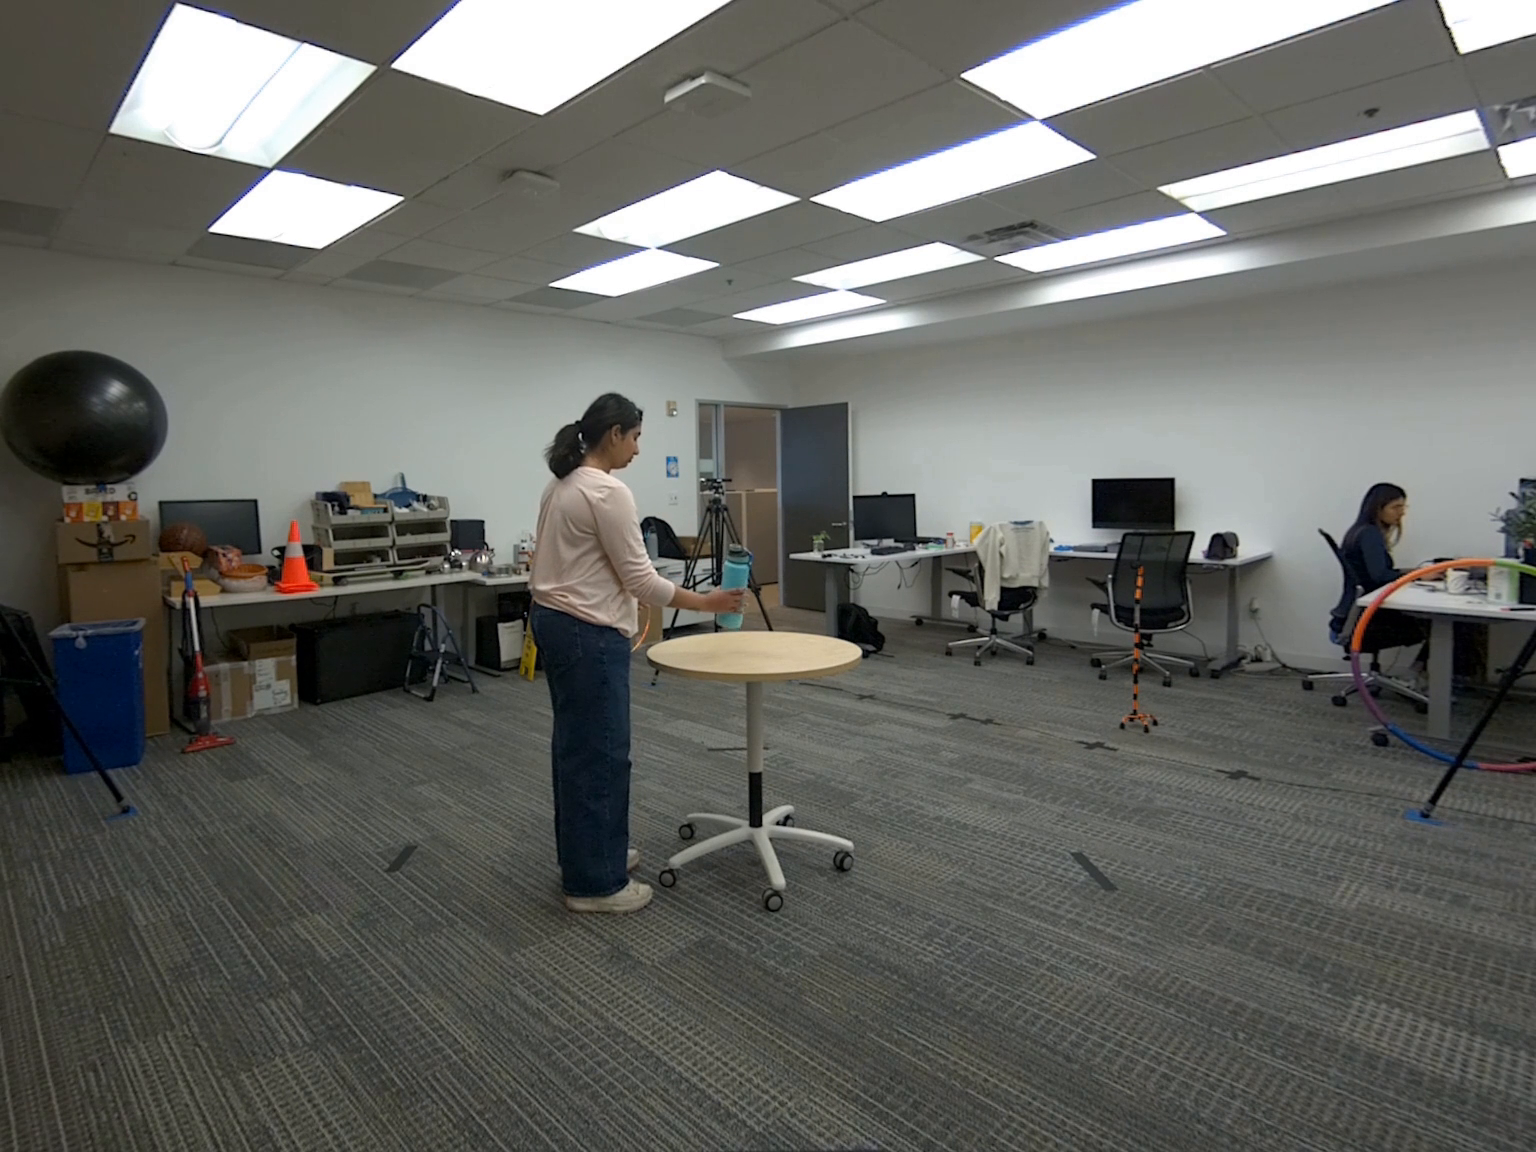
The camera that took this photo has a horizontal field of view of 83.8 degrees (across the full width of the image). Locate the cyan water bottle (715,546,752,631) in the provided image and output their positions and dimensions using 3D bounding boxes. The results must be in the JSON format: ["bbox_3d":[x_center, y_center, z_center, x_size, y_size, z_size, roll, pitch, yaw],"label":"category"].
[{"bbox_3d":[-0.118,0.032,2.946,0.092,0.281,0.093,10,12,-4],"label":"cyan water bottle"}]
